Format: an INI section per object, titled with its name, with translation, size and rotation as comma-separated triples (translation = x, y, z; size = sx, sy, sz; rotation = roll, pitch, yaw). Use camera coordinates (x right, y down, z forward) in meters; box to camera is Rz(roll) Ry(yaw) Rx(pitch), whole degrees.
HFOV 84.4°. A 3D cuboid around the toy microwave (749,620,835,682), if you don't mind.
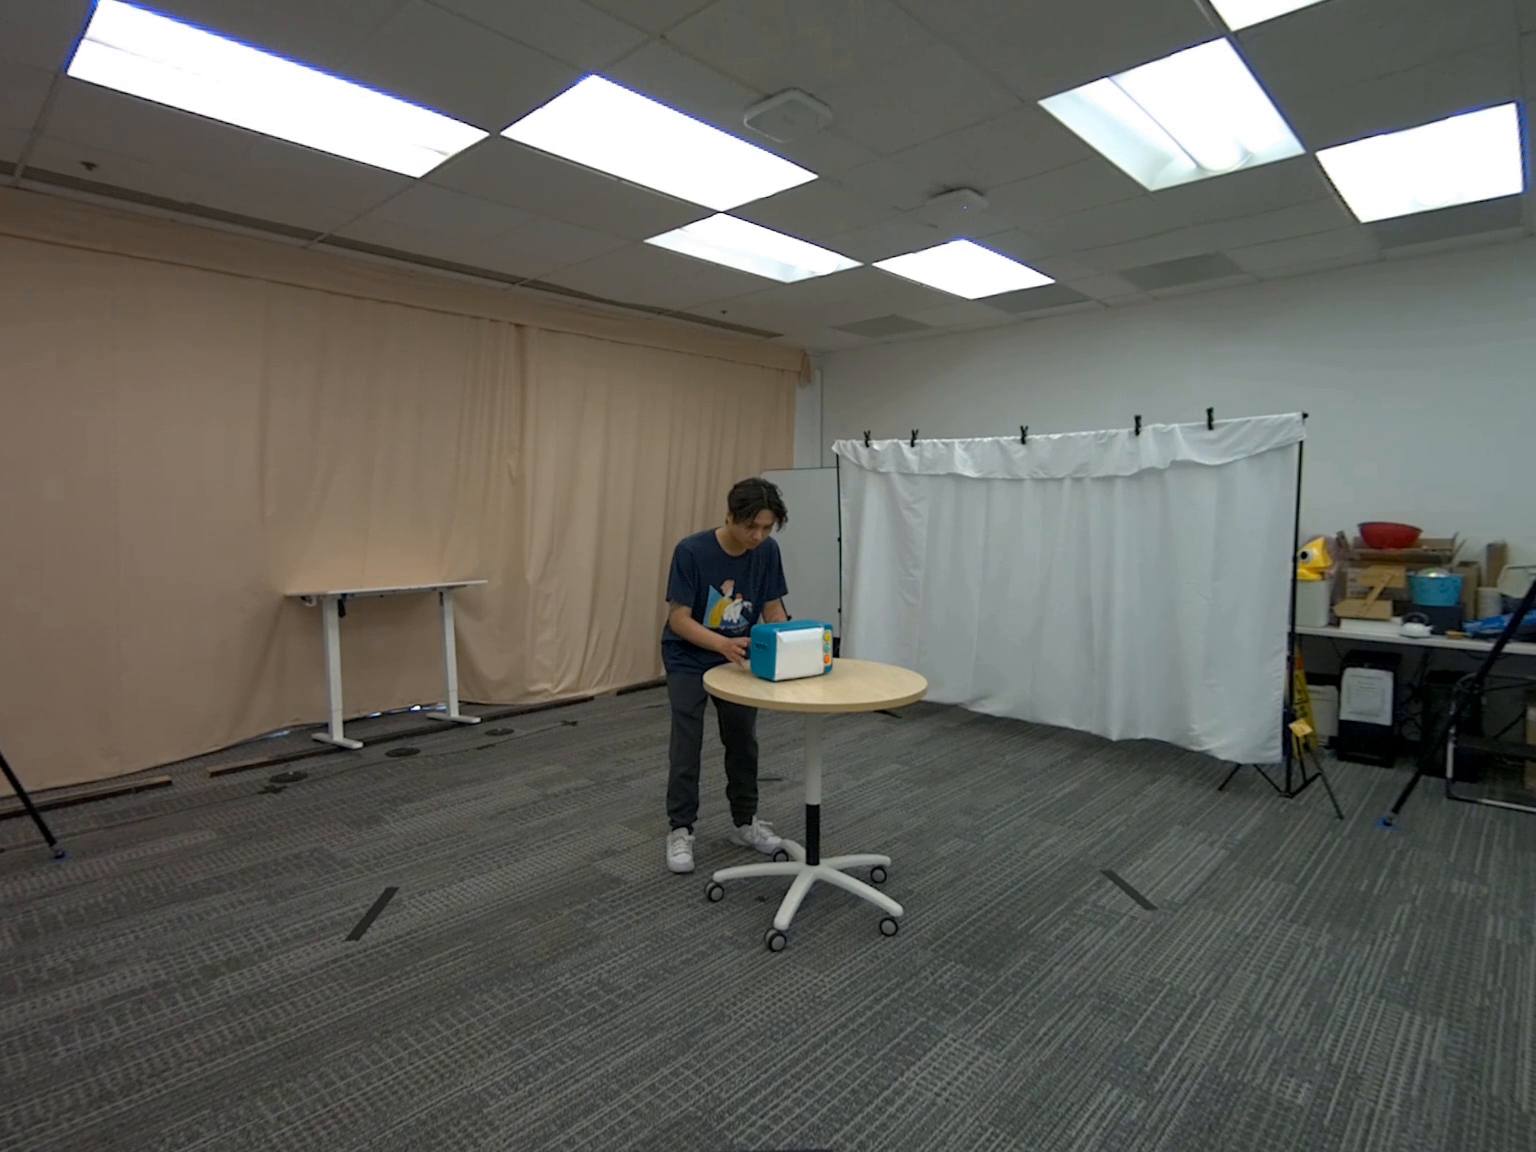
[toy microwave]
translation = 0.088, 0.256, 2.928
size = 0.278, 0.183, 0.157
rotation = -3, 6, -35
